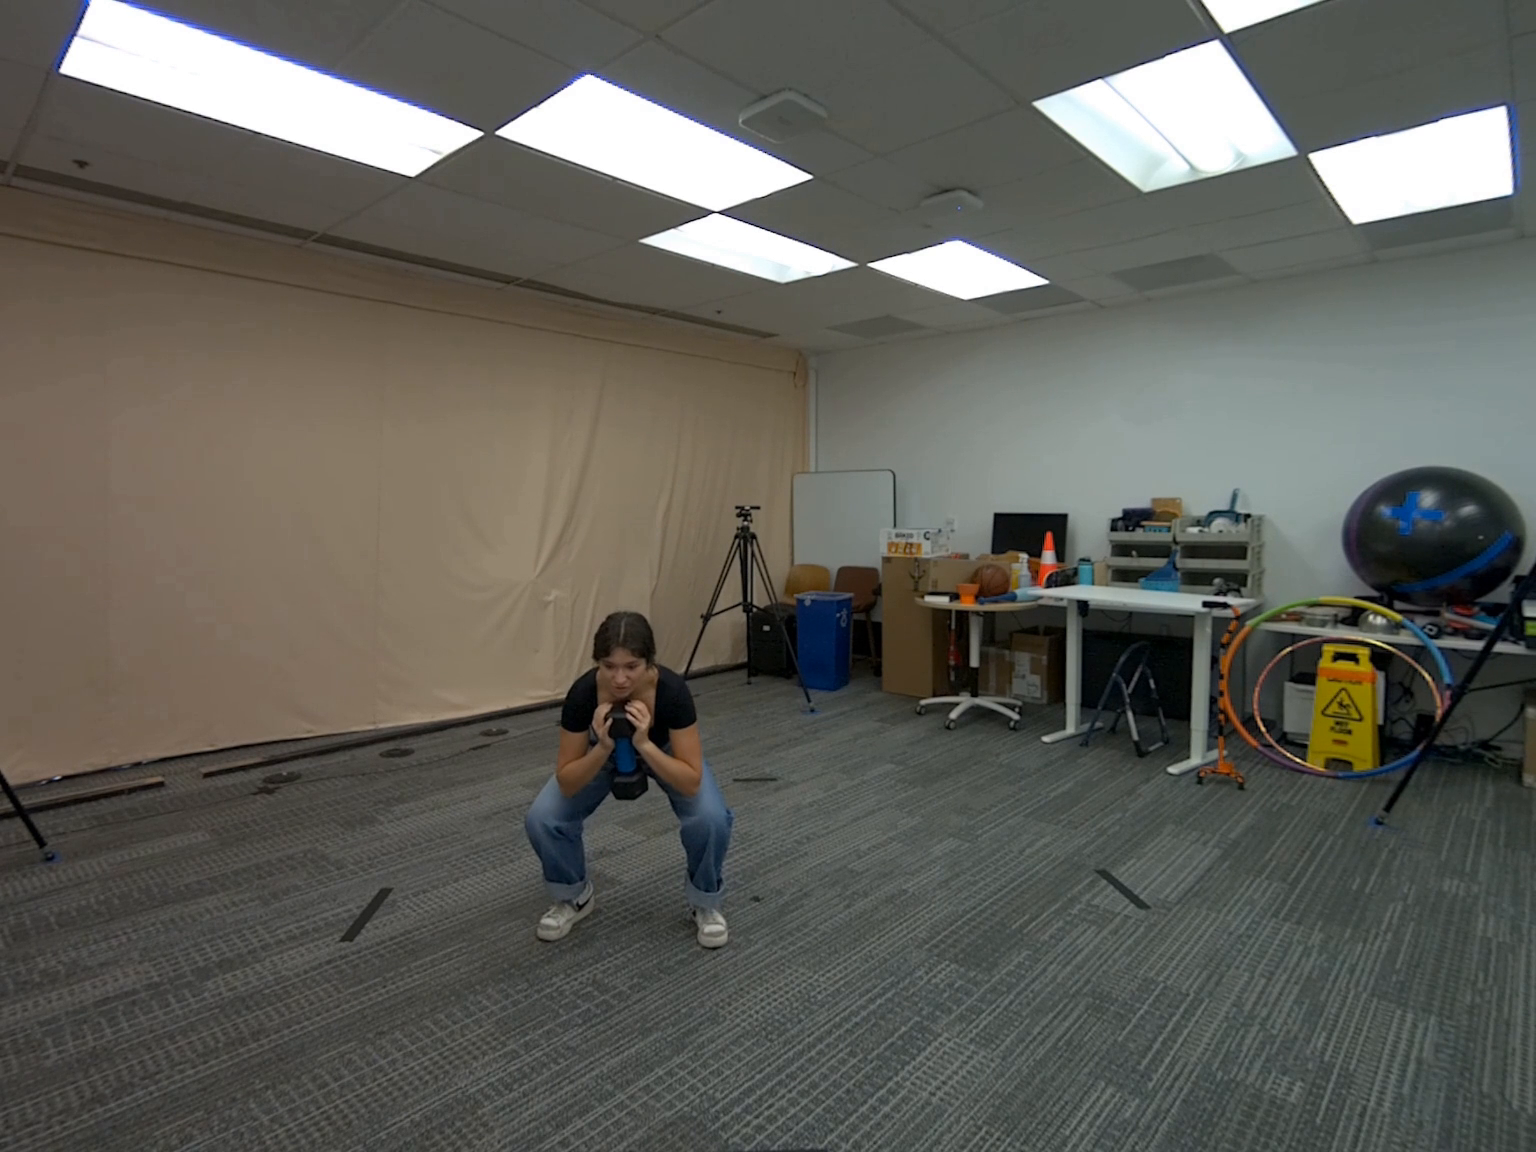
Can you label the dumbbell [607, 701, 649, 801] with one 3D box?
[{"bbox_3d":[-0.433,0.527,2.574,0.112,0.291,0.120,6,14,33],"label":"dumbbell"}]
